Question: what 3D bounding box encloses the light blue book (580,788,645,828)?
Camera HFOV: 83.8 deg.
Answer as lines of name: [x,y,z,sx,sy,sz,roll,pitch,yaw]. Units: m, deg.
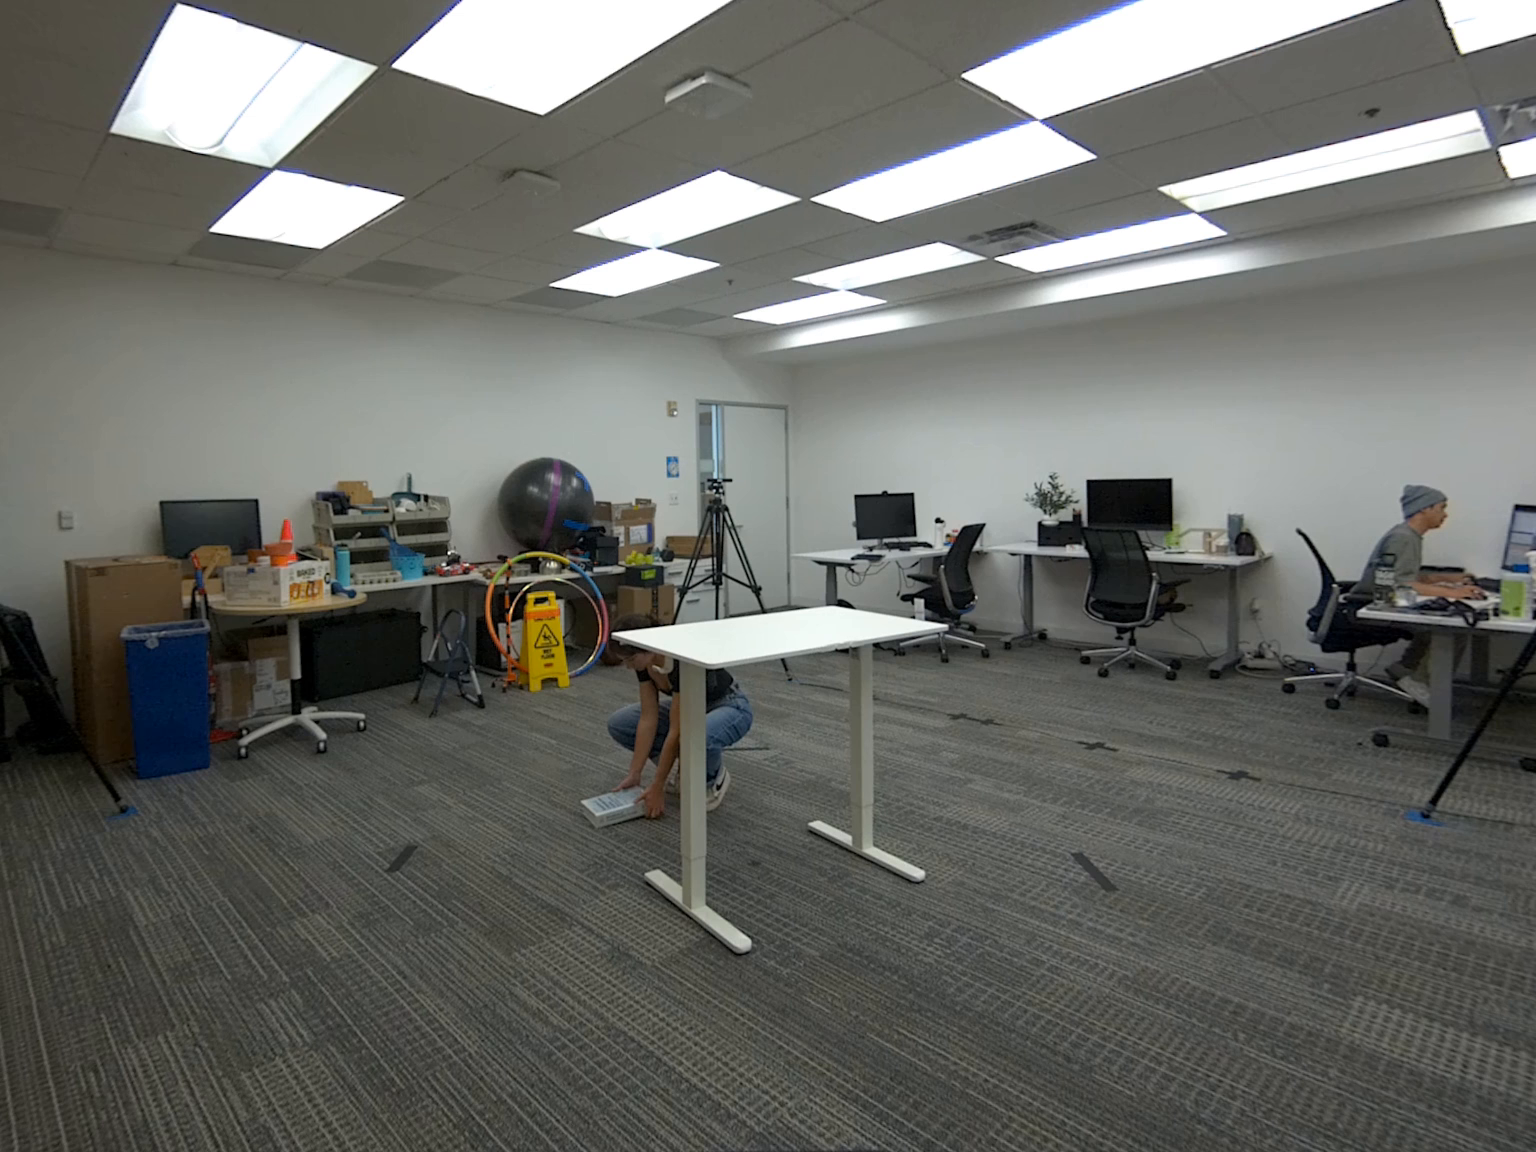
light blue book: [-0.630,0.968,3.581,0.255,0.059,0.196,-8,8,-28]
